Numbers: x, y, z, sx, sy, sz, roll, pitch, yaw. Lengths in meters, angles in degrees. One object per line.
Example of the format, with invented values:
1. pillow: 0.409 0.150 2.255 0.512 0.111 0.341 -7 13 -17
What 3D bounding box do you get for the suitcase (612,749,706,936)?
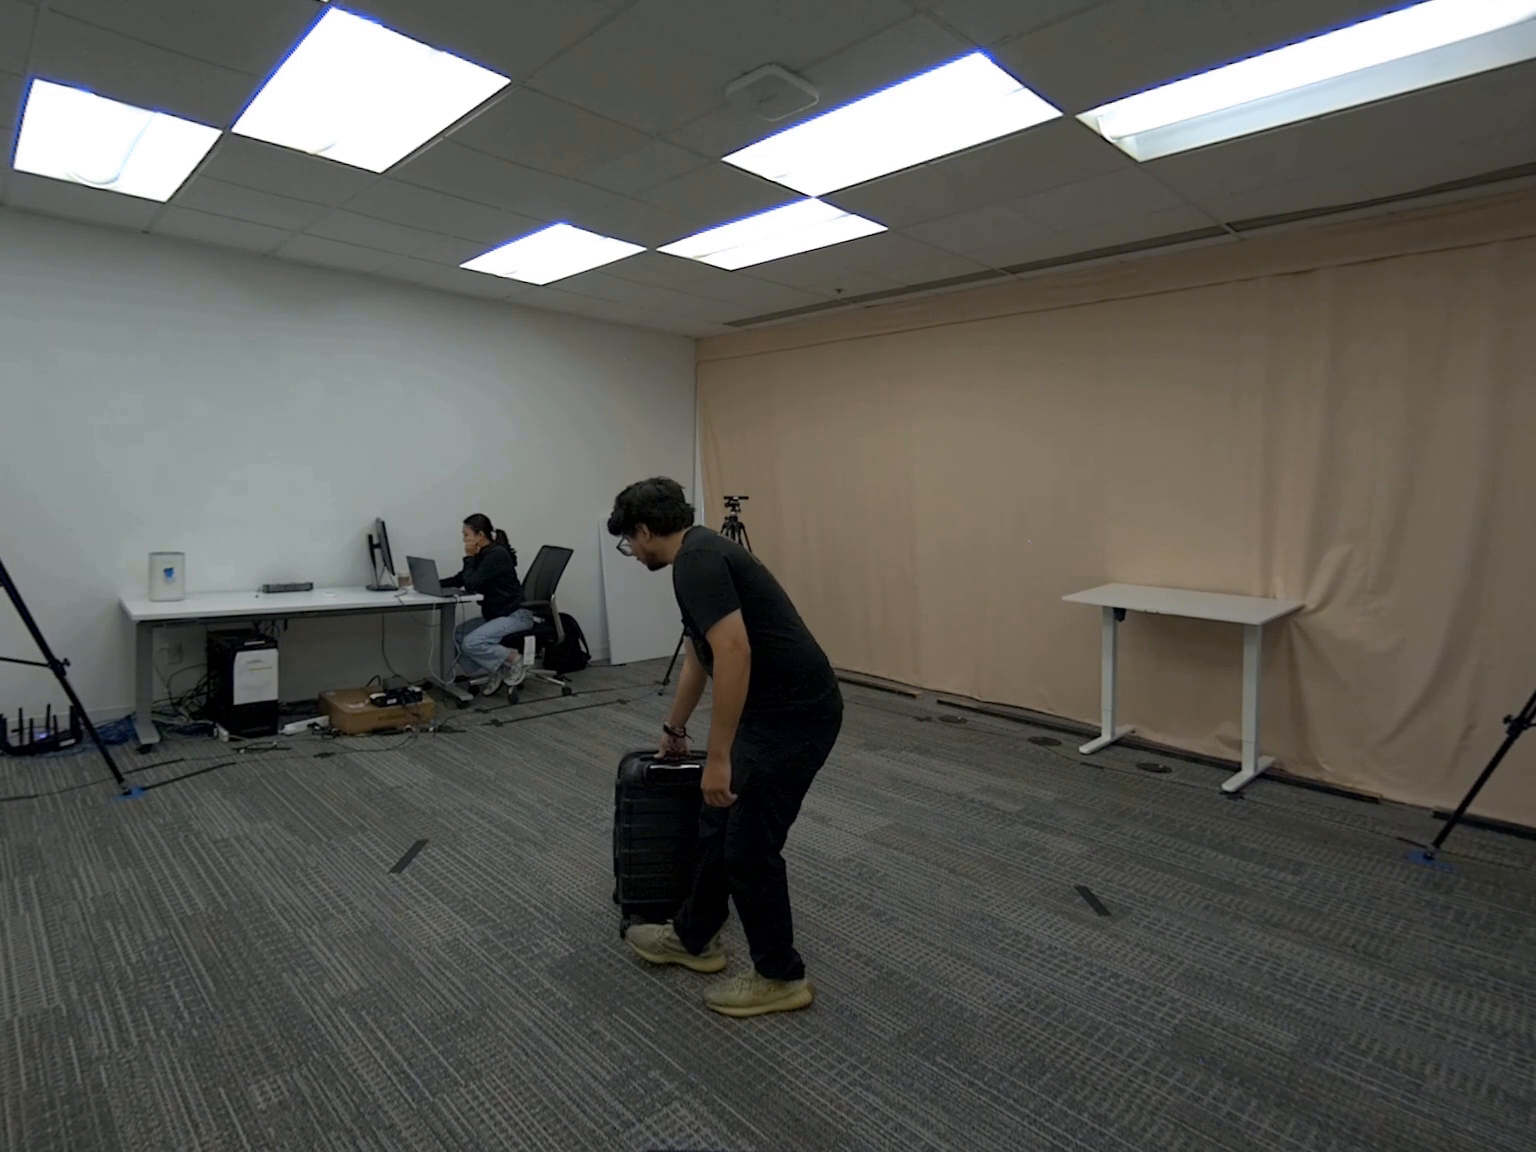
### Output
1. suitcase: -0.329 0.855 2.798 0.373 0.548 0.250 2 2 -8
